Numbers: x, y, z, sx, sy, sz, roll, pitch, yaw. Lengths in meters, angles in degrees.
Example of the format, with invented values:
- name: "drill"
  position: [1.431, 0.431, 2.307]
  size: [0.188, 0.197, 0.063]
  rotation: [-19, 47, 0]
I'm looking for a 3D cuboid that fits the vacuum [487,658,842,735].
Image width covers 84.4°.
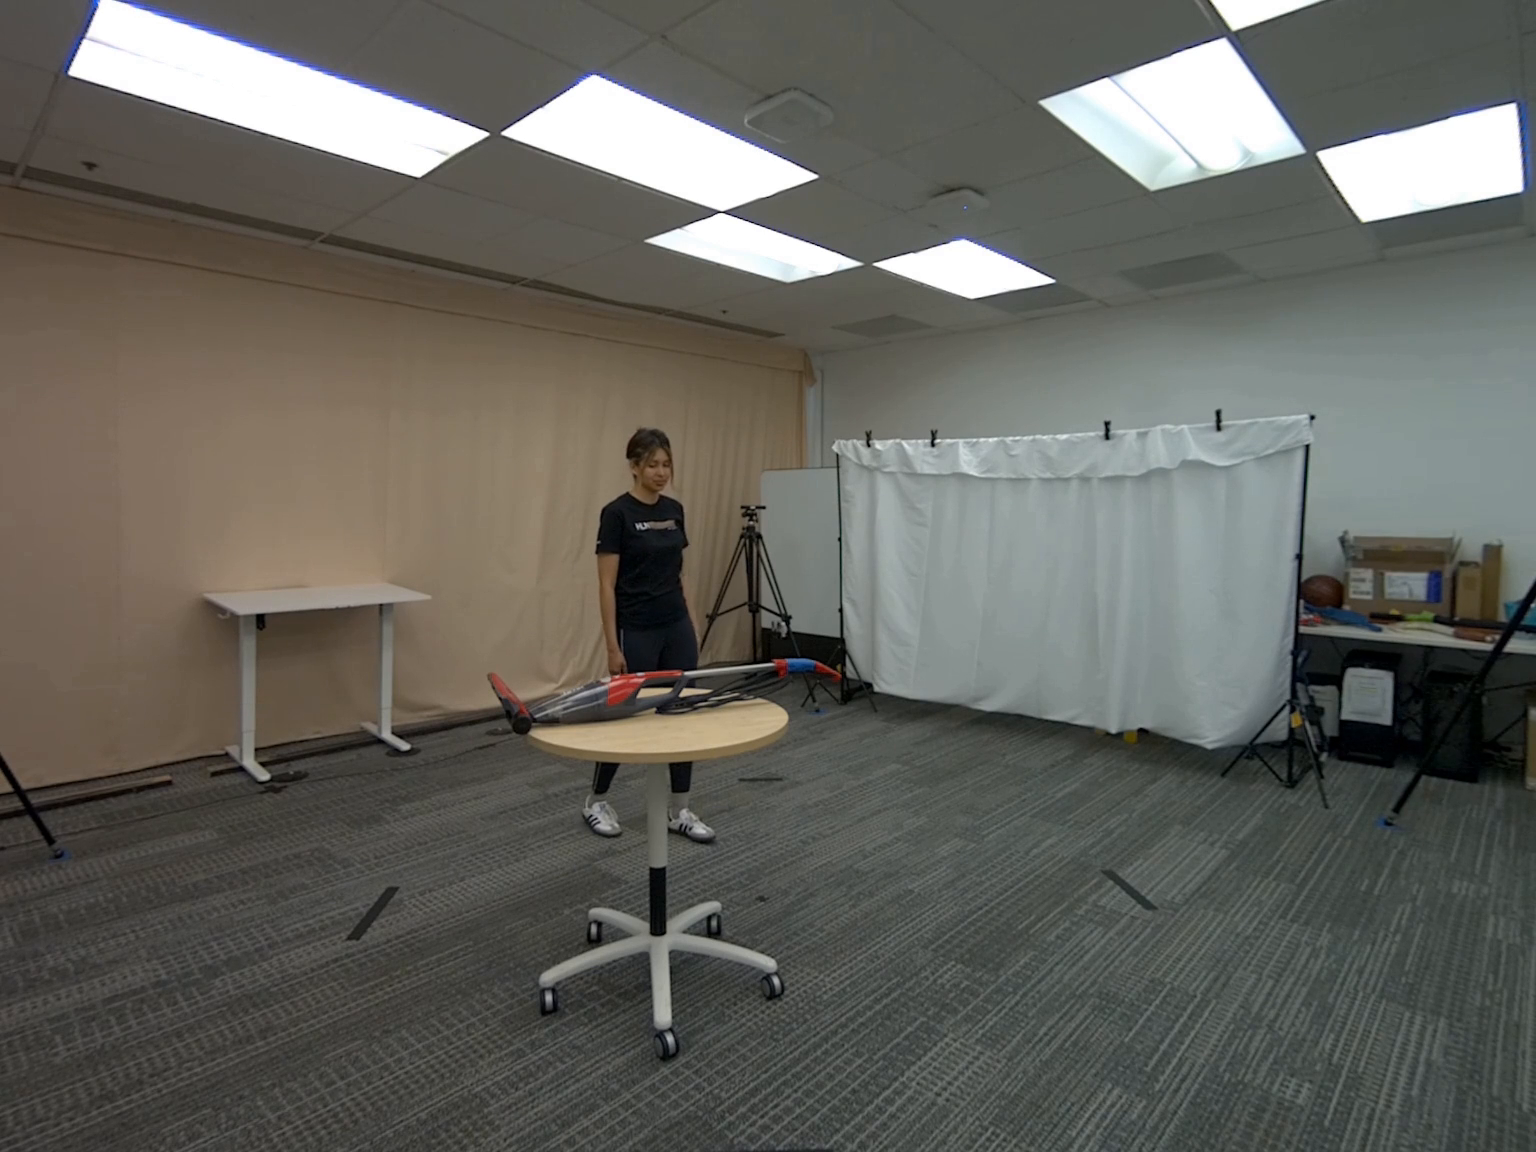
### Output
- name: "vacuum"
  position: [-0.251, 0.350, 2.498]
  size: [1.025, 0.143, 0.260]
  rotation: [-2, 10, -23]
